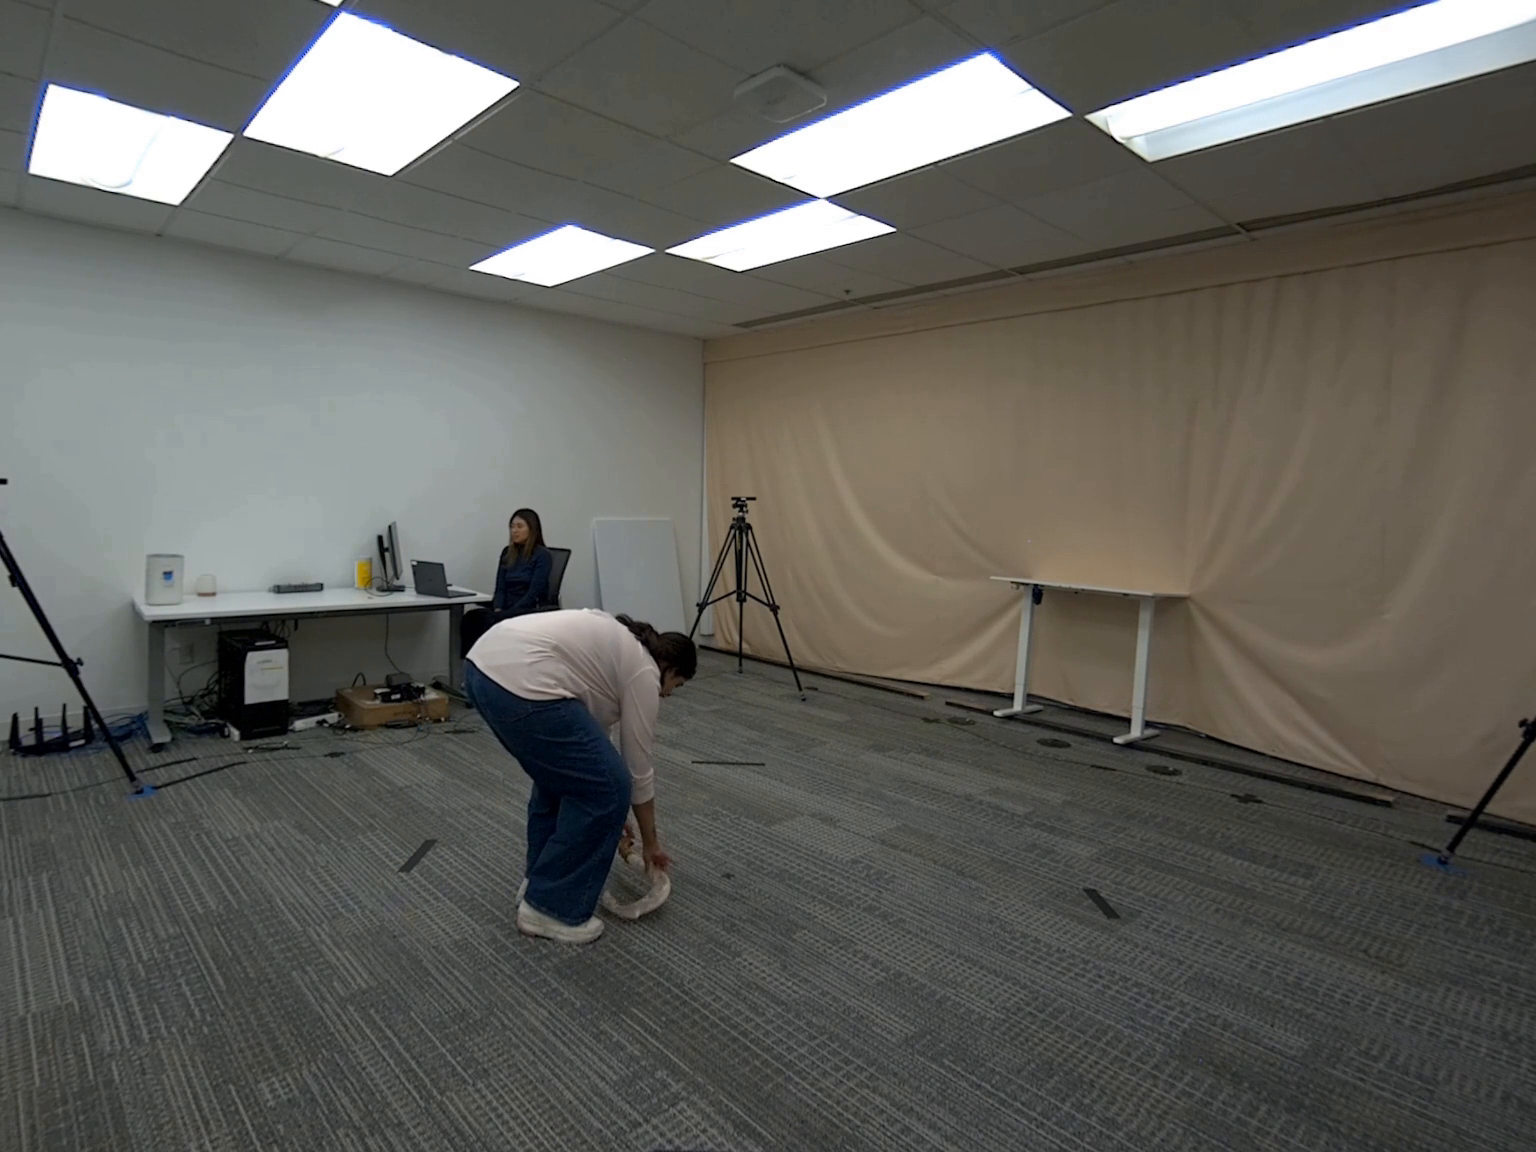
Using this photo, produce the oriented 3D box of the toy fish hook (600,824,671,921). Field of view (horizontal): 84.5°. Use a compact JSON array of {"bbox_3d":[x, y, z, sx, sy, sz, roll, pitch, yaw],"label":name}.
[{"bbox_3d":[-0.519,1.033,2.954,0.221,0.048,0.519,-11,16,-22],"label":"toy fish hook"}]
